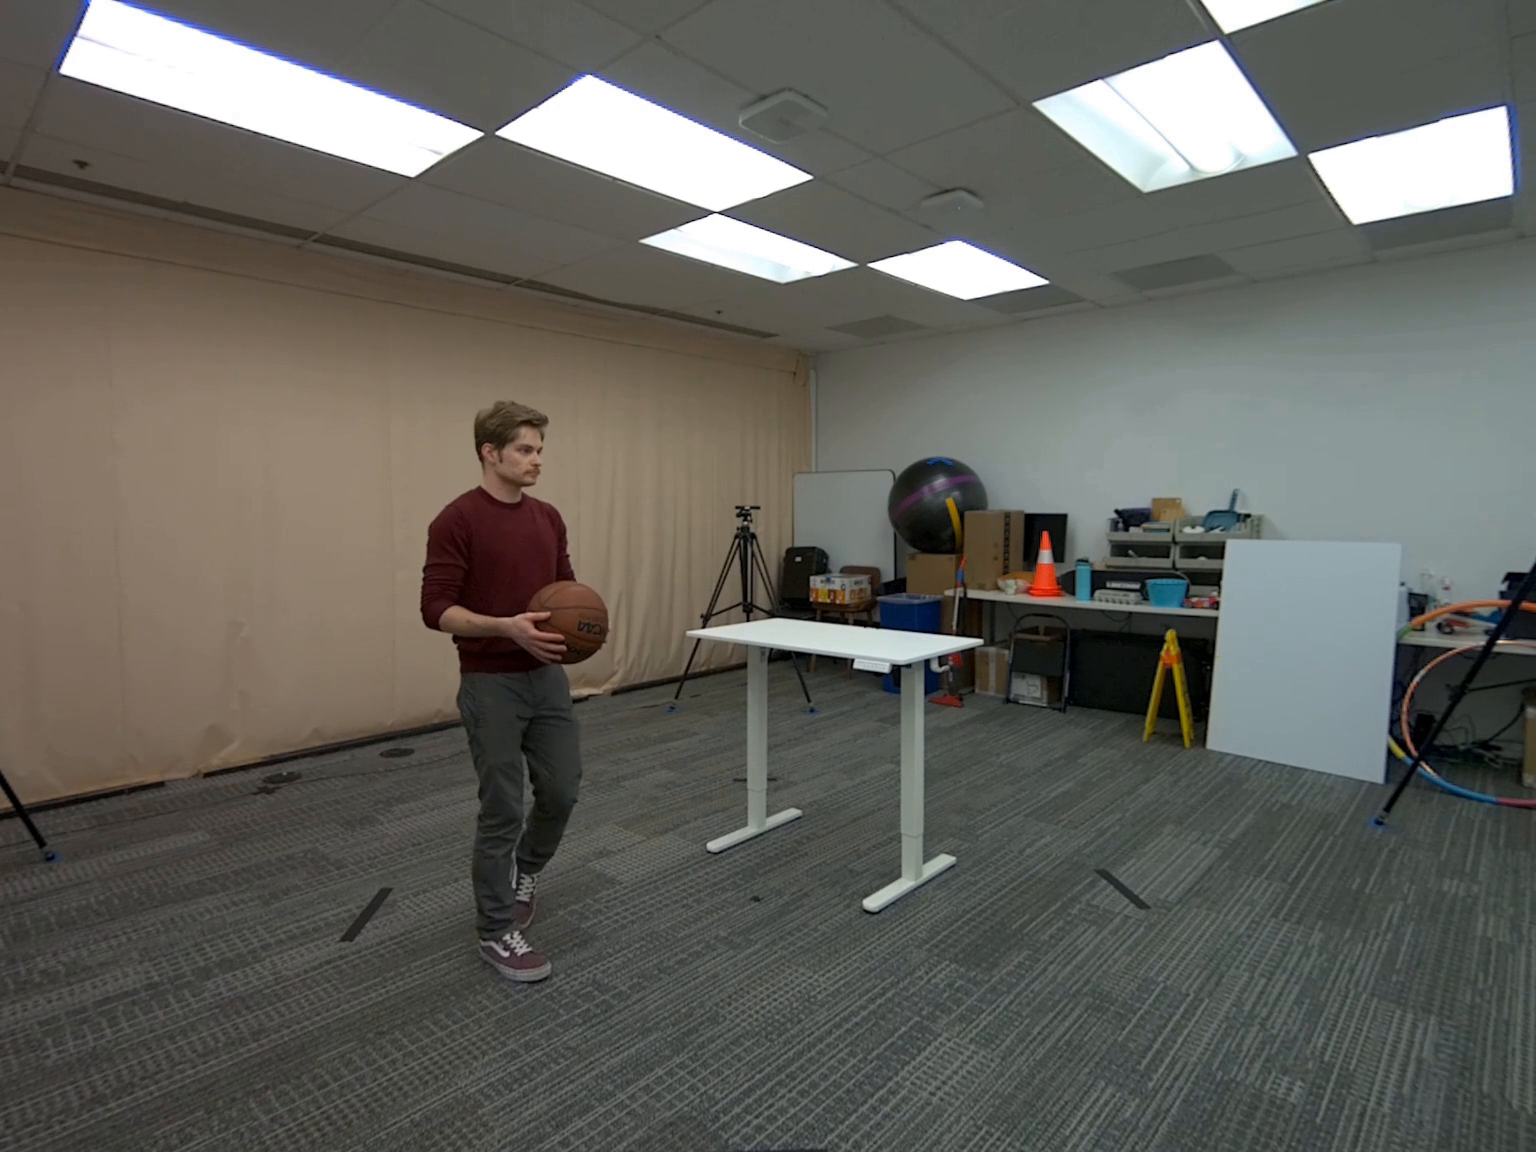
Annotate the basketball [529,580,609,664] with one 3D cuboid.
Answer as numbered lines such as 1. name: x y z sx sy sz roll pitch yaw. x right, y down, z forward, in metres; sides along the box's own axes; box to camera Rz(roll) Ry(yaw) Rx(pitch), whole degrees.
1. basketball: -0.581 0.135 2.397 0.236 0.235 0.237 0 4 -2
